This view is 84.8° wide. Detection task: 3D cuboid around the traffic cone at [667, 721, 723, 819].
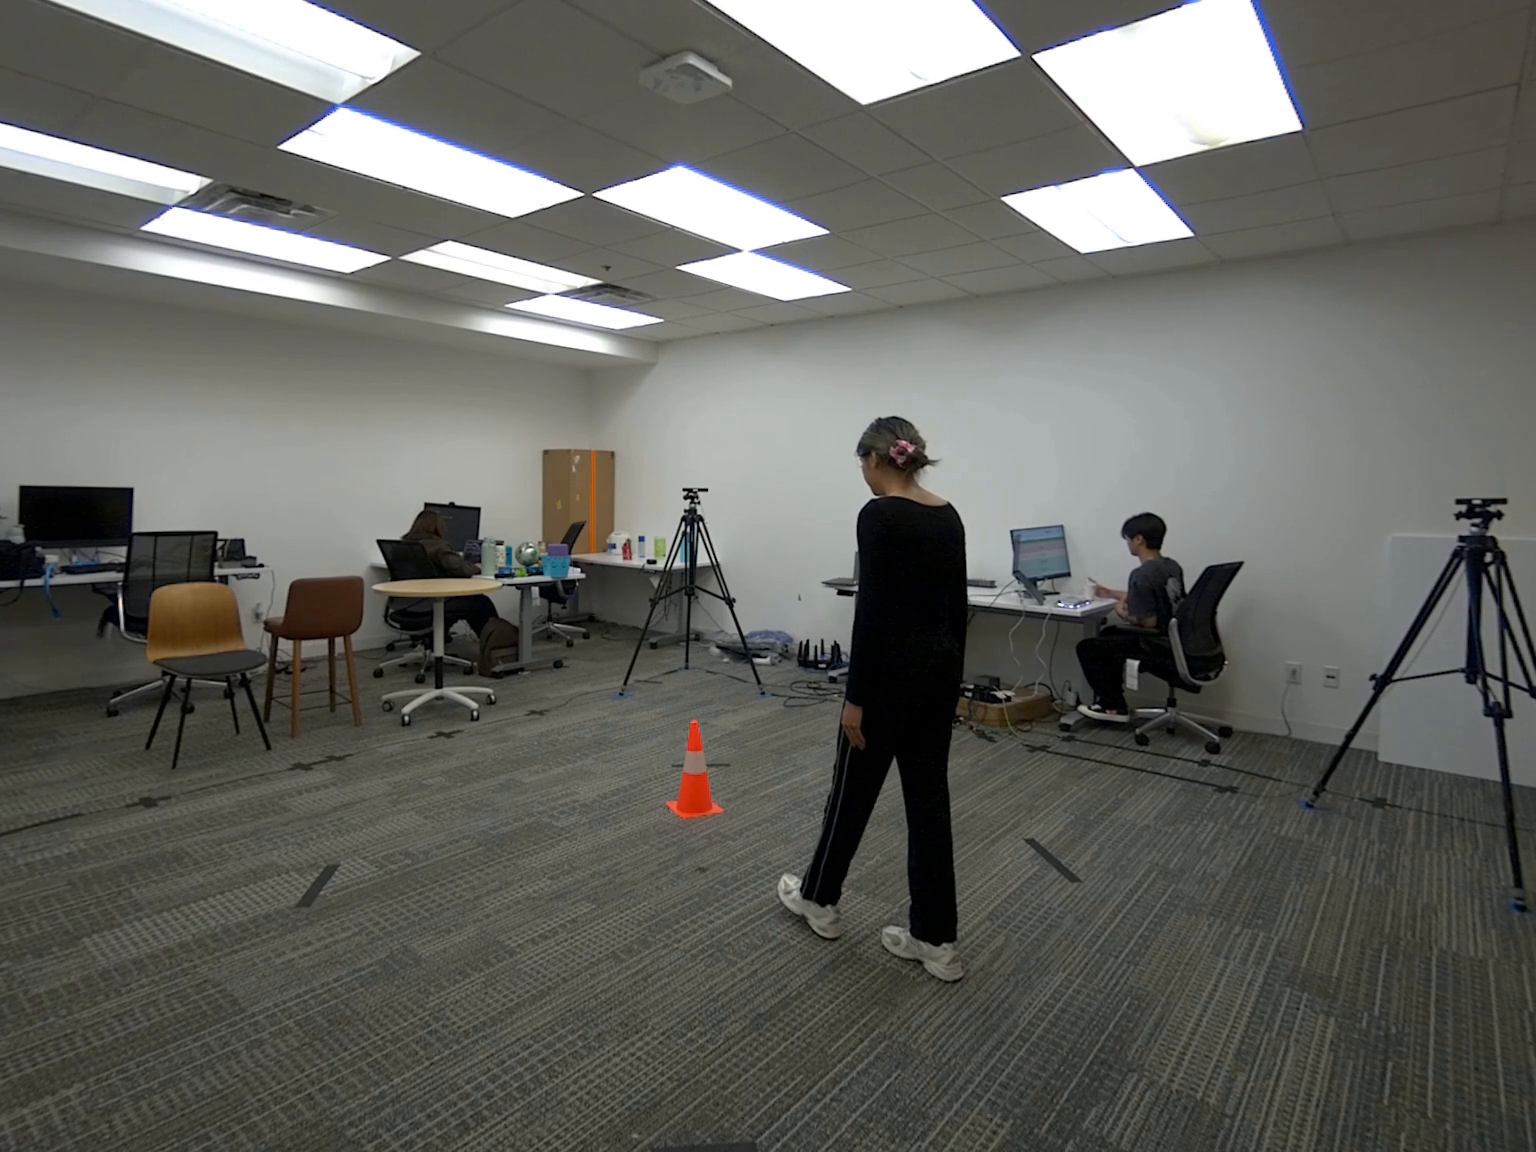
[{"bbox_3d":[-0.332,0.825,3.715,0.198,0.383,0.211,-1,2,-29],"label":"traffic cone"}]
